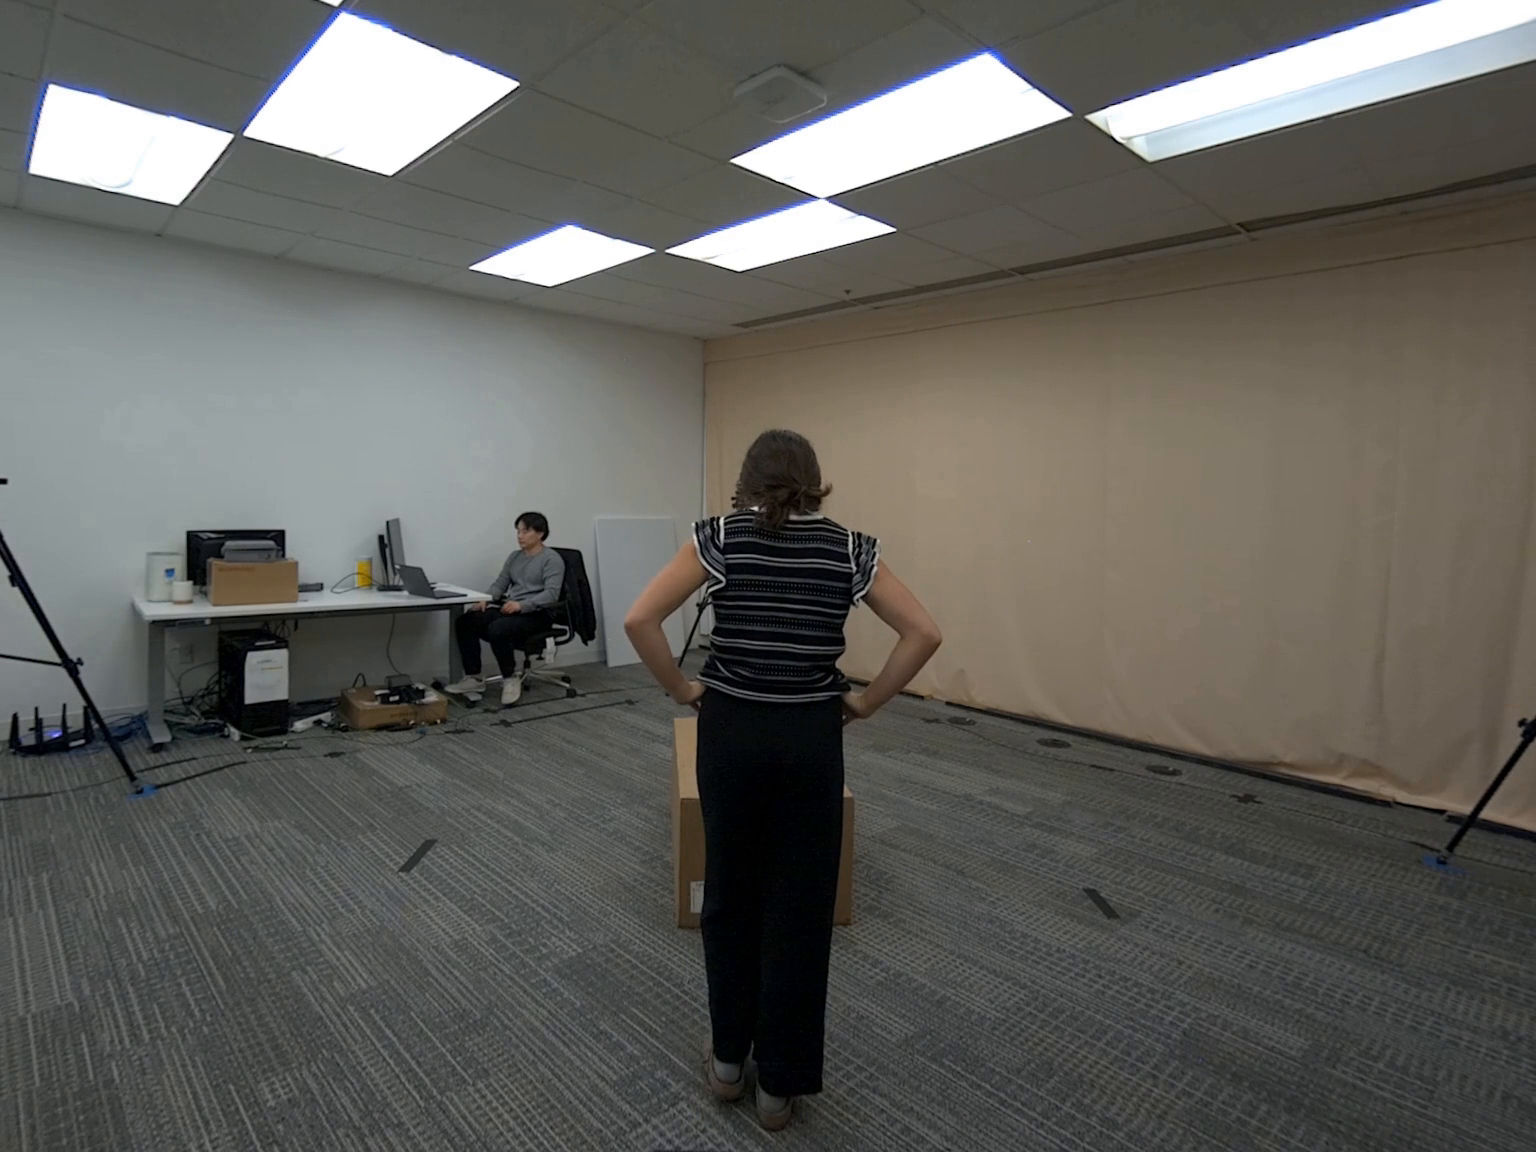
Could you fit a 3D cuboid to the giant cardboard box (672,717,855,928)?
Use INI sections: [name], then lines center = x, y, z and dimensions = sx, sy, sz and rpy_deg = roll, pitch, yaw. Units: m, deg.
[giant cardboard box]
center = -0.073, 0.886, 3.231
dimensions = 0.575, 0.425, 1.033
rpy_deg = 1, 5, -7
